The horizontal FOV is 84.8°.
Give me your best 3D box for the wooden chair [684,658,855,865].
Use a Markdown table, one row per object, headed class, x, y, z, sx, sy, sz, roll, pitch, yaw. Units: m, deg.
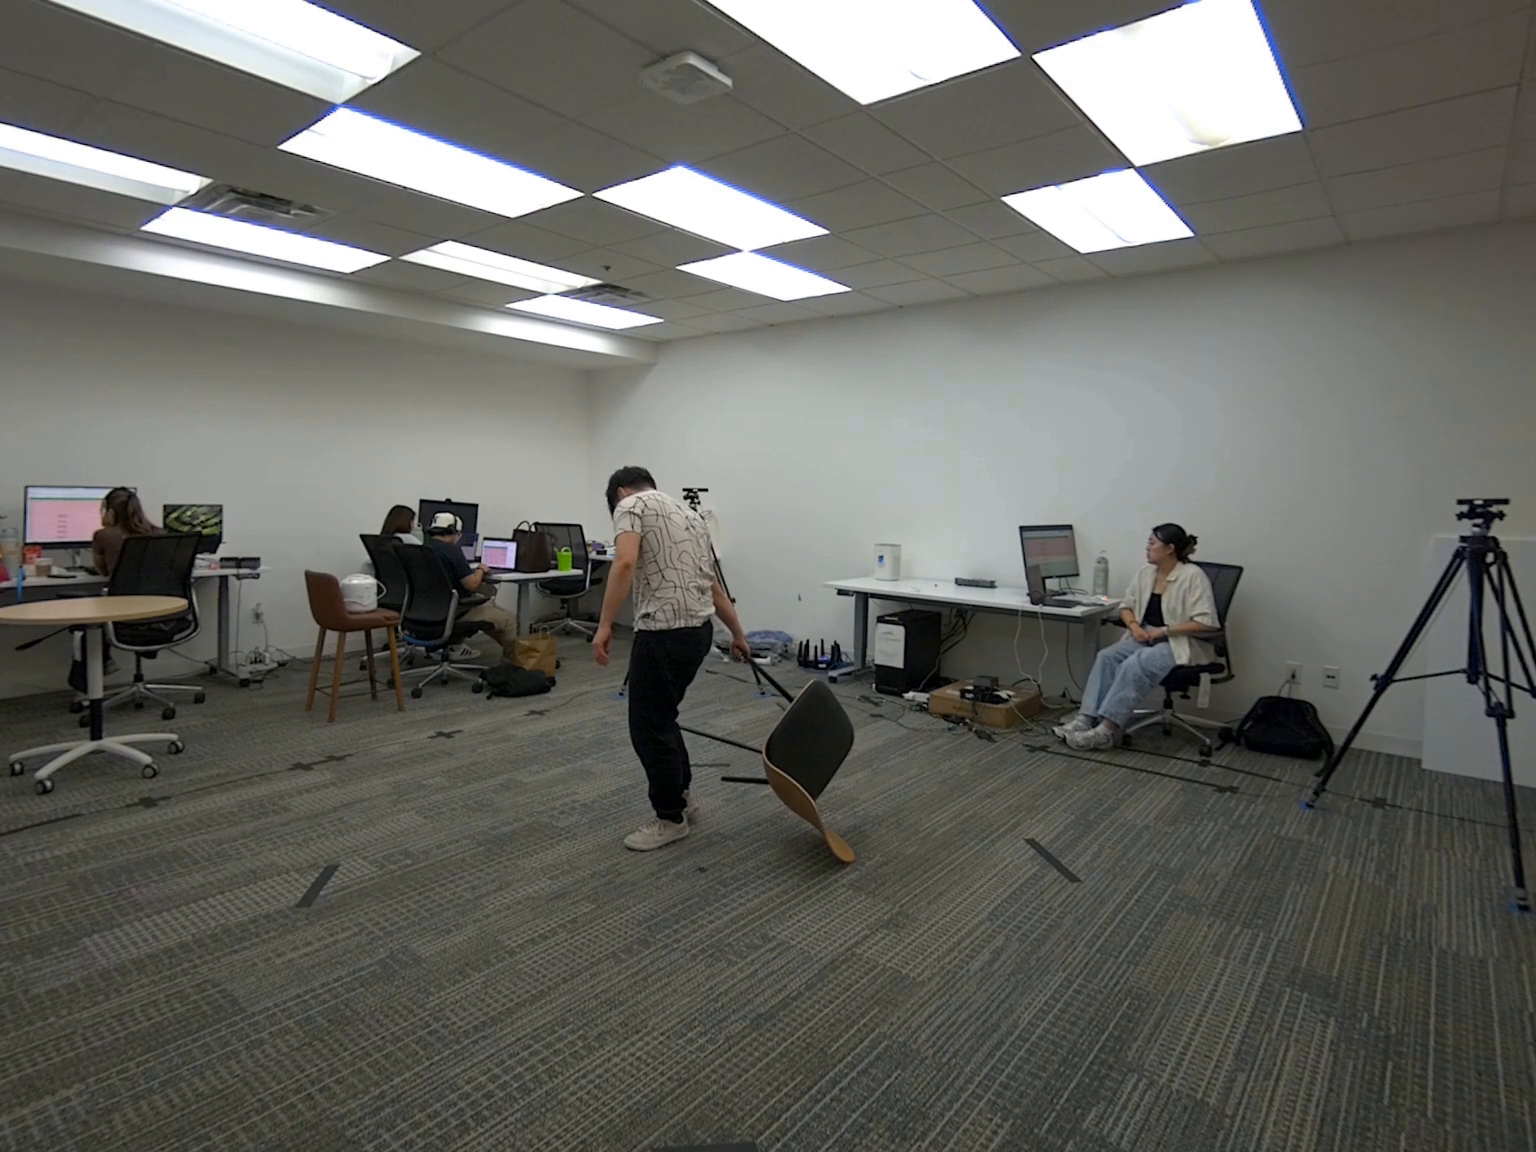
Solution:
| class | x | y | z | sx | sy | sz | roll | pitch | yaw |
| --- | --- | --- | --- | --- | --- | --- | --- | --- | --- |
| wooden chair | 0.111 | 0.706 | 3.495 | 0.912 | 0.523 | 0.459 | 21 | -27 | 48 |
